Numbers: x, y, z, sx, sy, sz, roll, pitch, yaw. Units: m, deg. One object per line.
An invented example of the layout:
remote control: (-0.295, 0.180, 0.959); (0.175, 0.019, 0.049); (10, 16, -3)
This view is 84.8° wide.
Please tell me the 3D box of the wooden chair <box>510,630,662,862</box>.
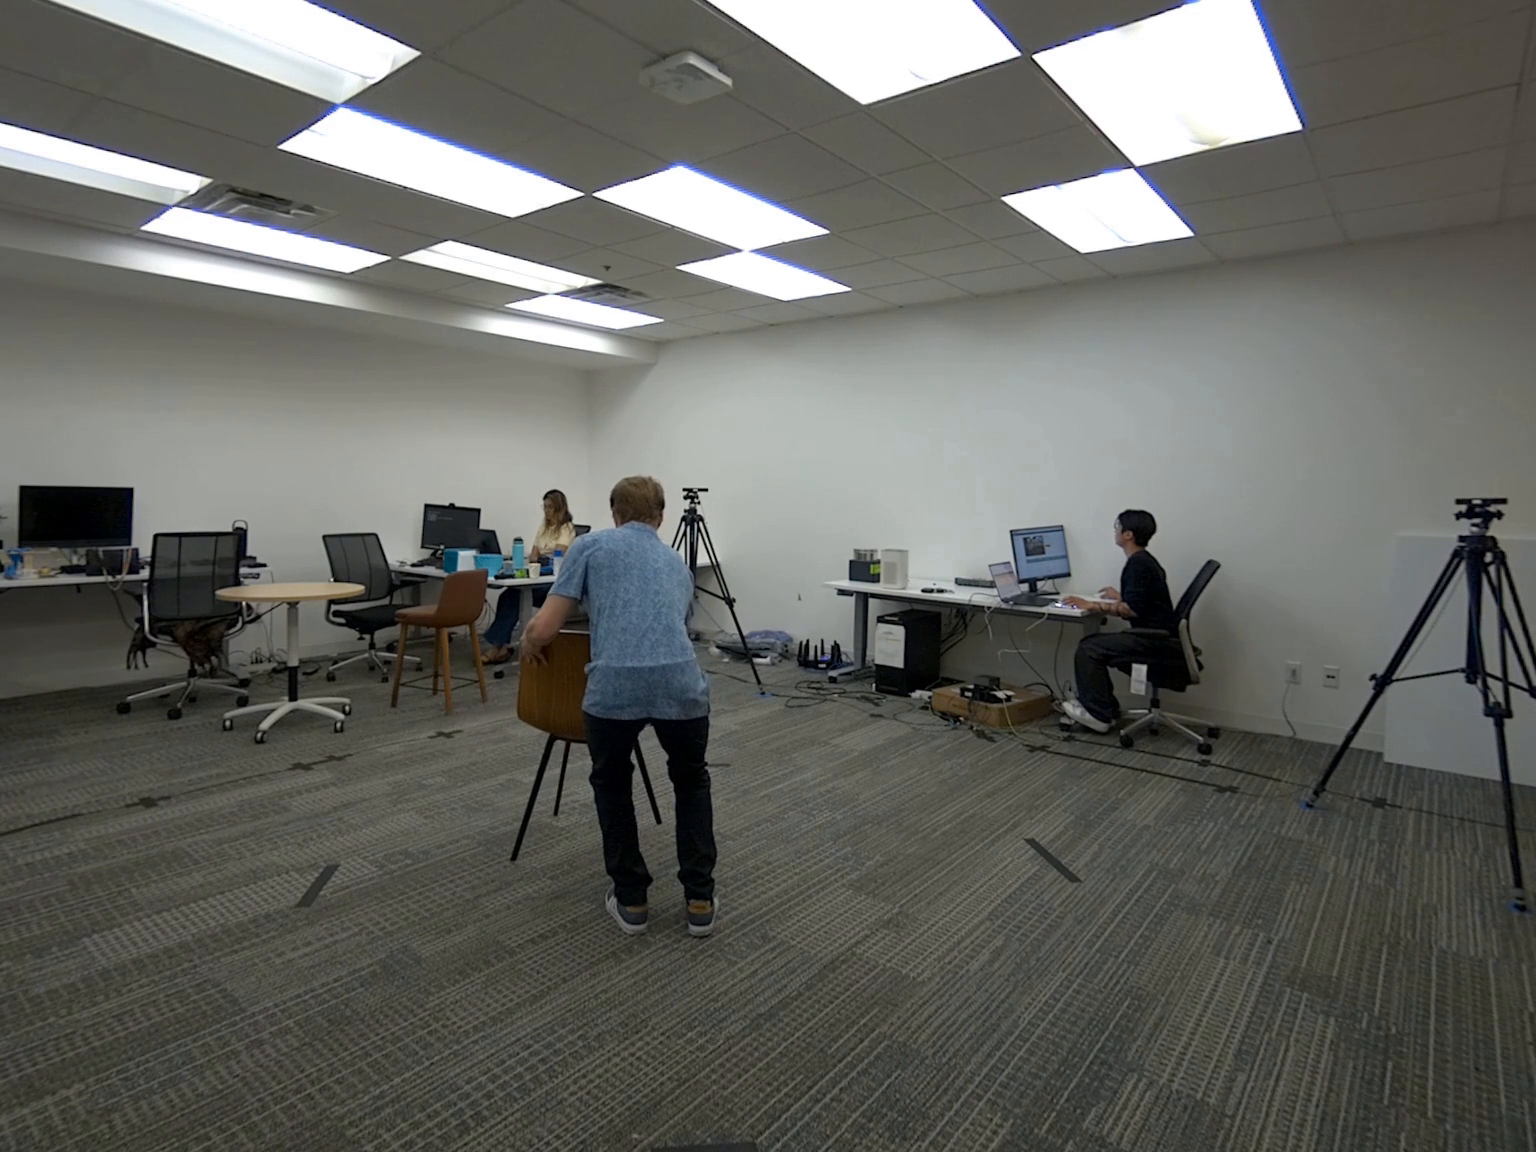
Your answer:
wooden chair: (-0.677, 0.576, 3.205); (0.483, 0.872, 0.521); (1, 7, 8)
